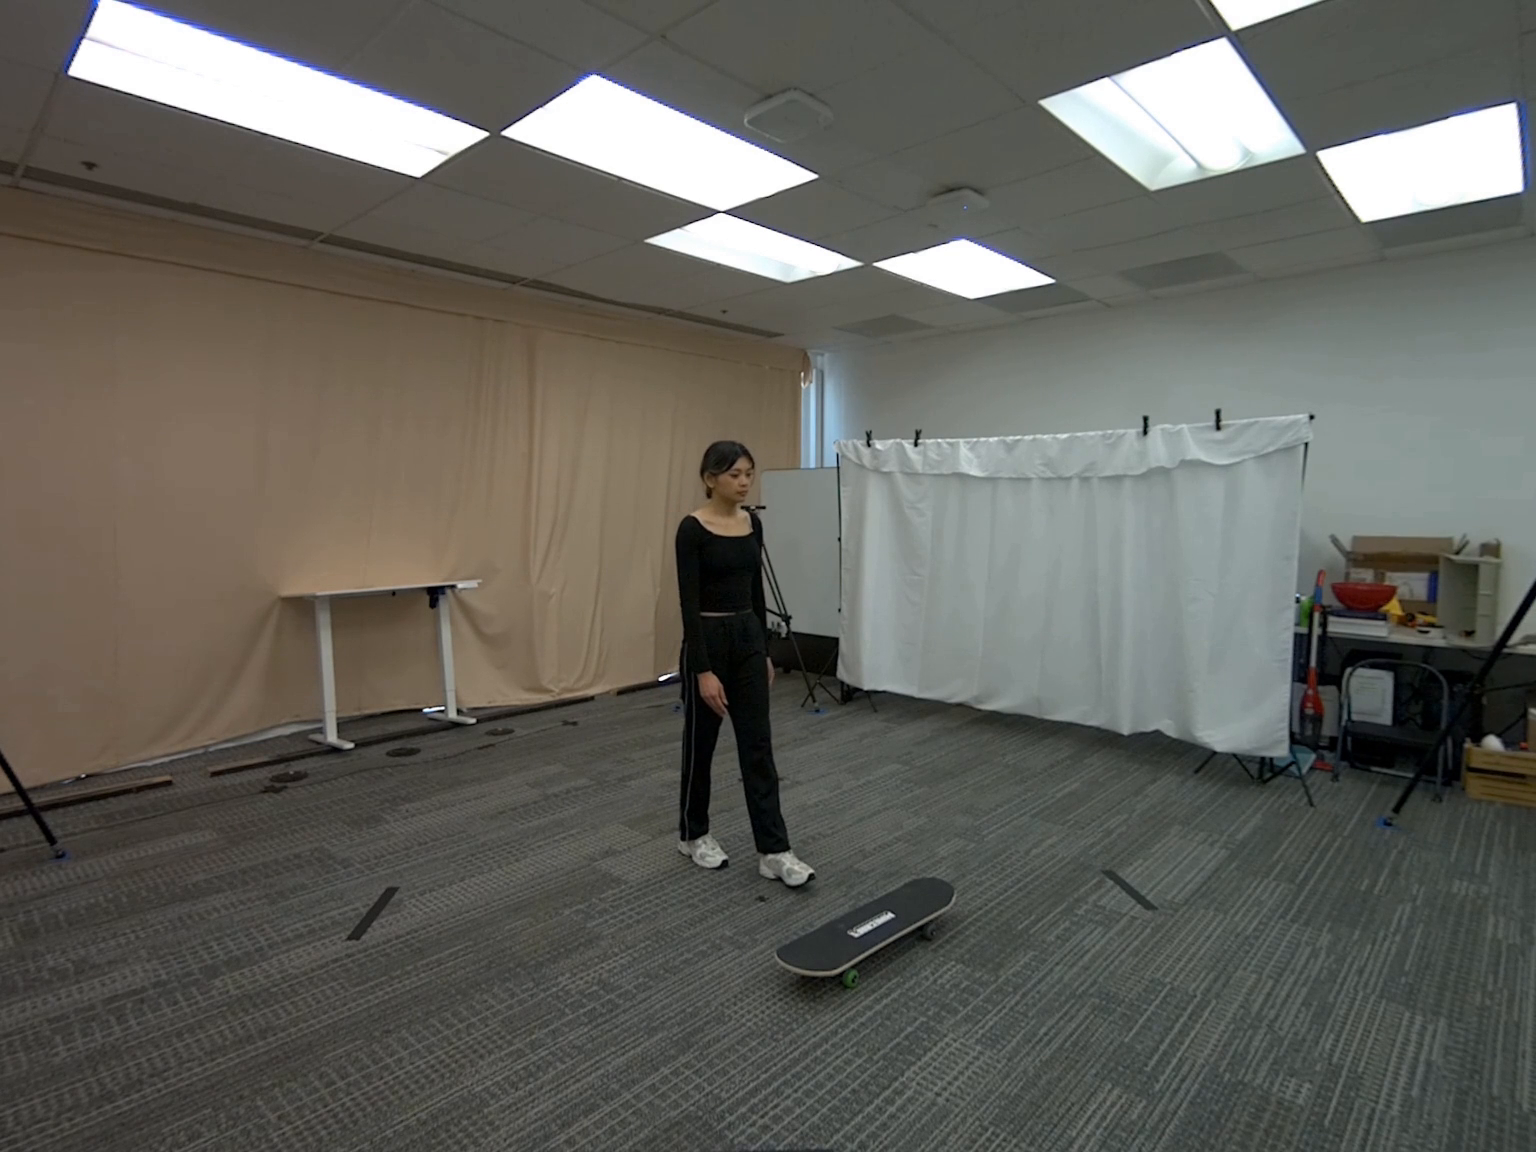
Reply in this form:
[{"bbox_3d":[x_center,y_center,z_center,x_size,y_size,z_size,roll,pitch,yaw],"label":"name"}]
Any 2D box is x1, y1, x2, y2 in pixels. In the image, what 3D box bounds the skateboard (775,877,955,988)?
[{"bbox_3d":[0.329,1.122,2.615,0.761,0.110,0.200,-4,7,-43],"label":"skateboard"}]
